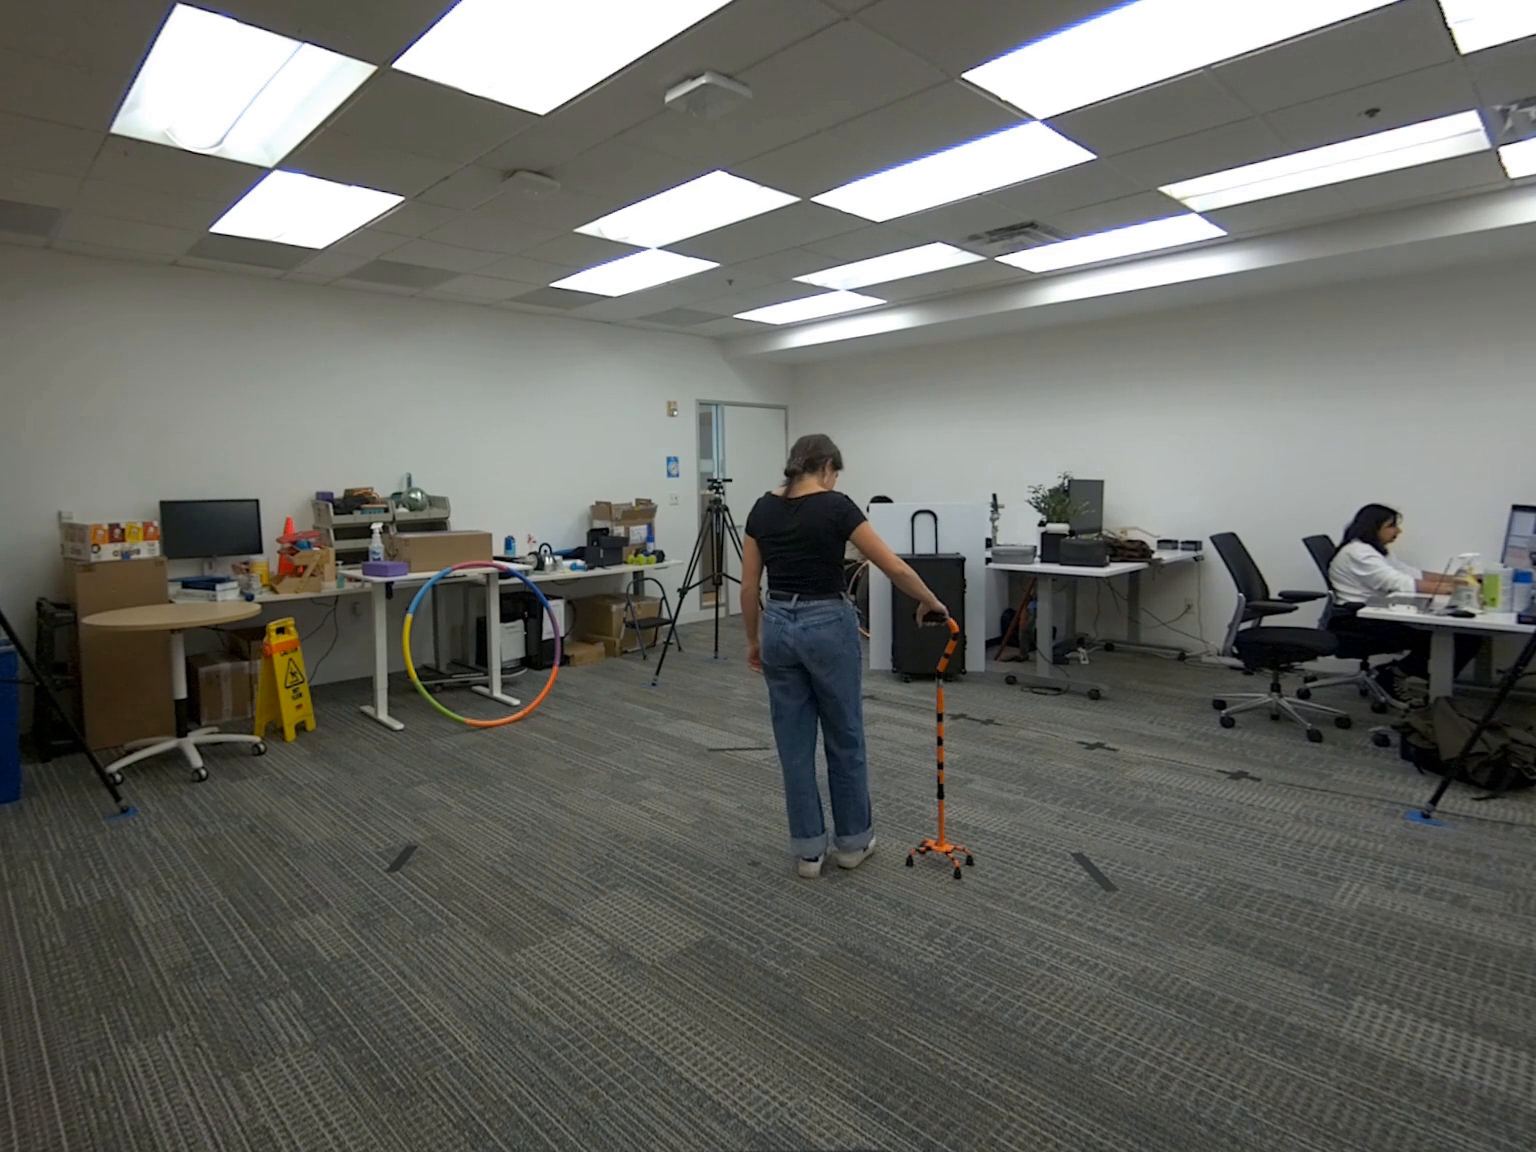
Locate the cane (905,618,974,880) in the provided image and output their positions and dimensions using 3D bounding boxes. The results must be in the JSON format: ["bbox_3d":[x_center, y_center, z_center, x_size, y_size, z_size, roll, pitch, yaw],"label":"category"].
[{"bbox_3d":[0.611,0.583,3.036,0.212,0.905,0.148,1,4,31],"label":"cane"}]
